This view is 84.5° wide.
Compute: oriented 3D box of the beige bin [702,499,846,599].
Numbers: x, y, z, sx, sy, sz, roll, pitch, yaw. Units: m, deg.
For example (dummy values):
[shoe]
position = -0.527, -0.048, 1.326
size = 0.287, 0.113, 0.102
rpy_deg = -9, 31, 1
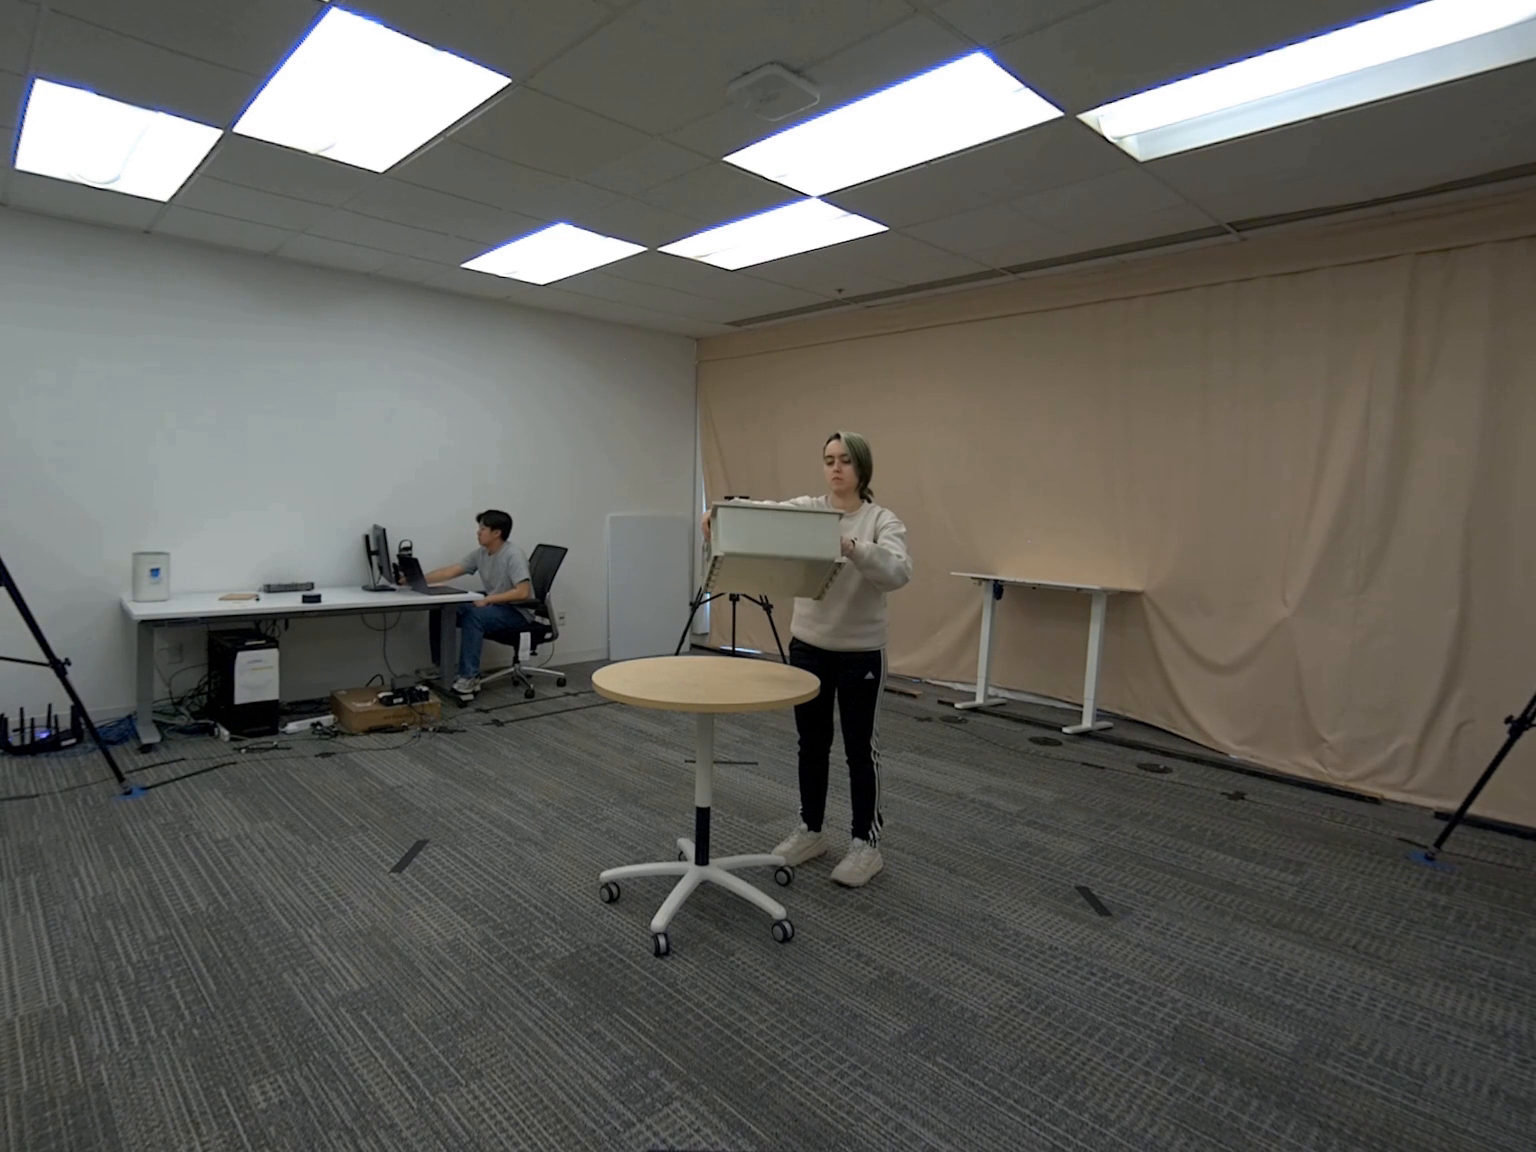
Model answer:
[beige bin]
position = -0.007, -0.062, 2.758
size = 0.419, 0.192, 0.374
rpy_deg = 5, -24, -8
